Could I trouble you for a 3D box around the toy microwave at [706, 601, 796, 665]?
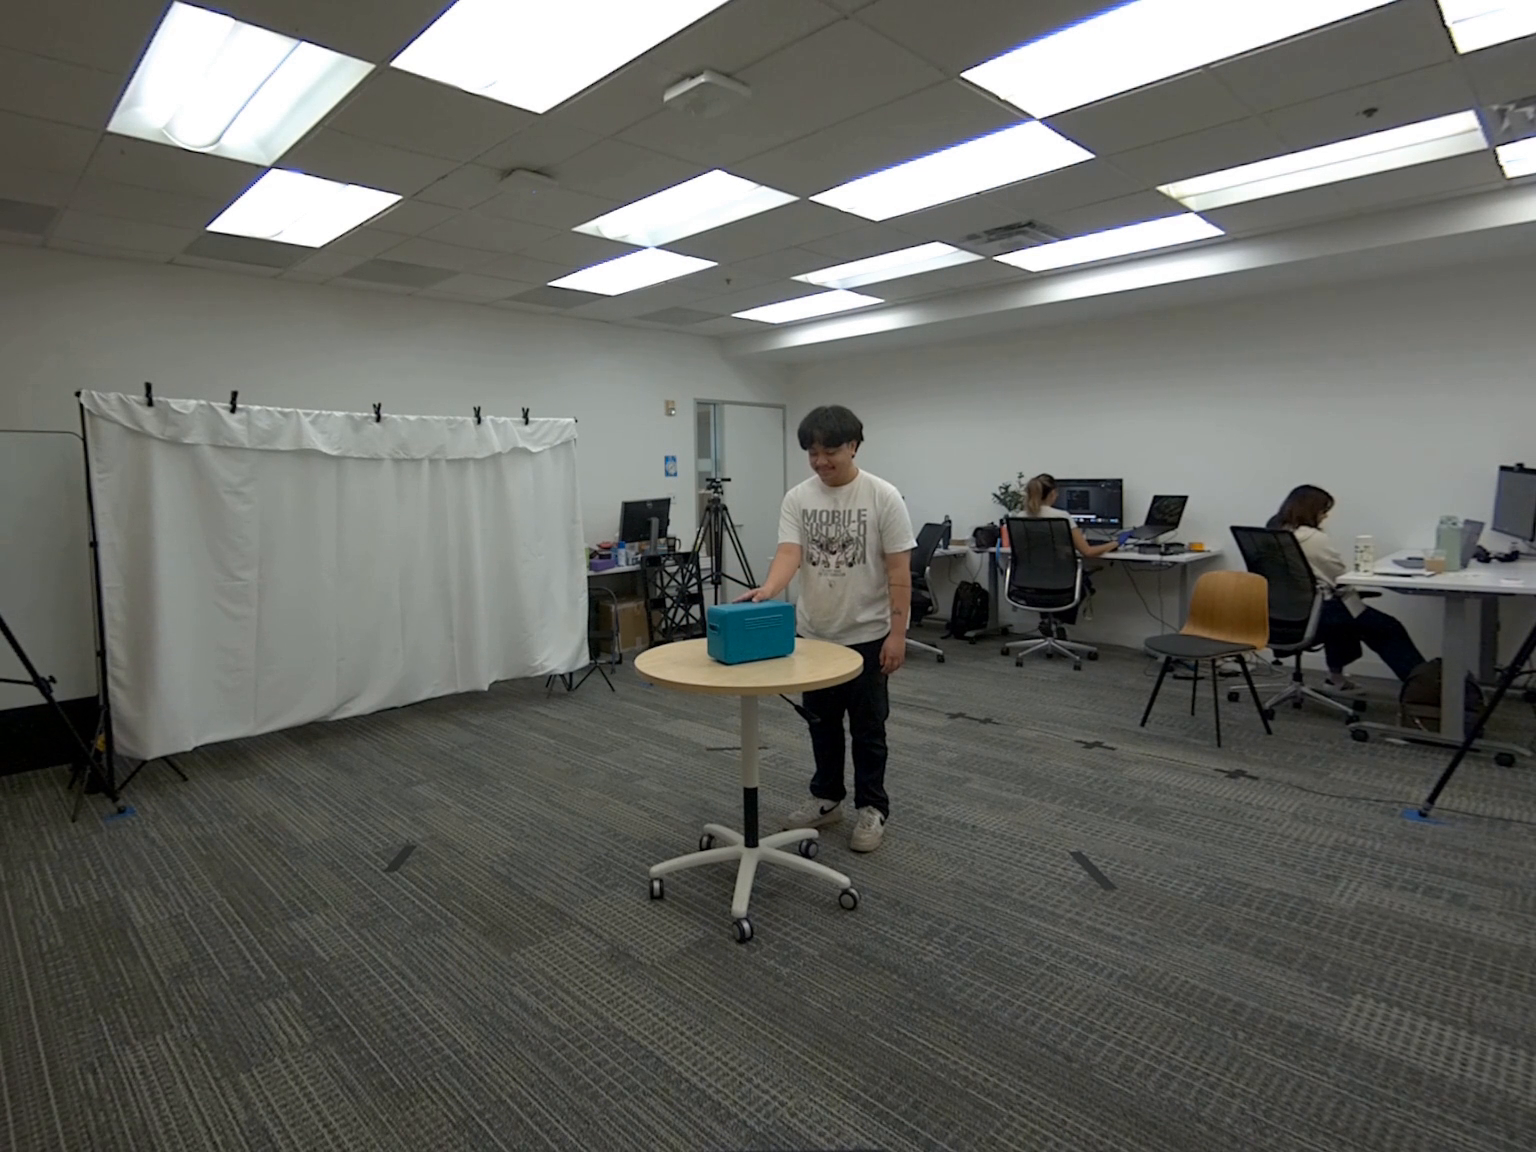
[{"bbox_3d":[-0.057,0.184,2.879,0.279,0.183,0.157,-5,6,-31],"label":"toy microwave"}]
